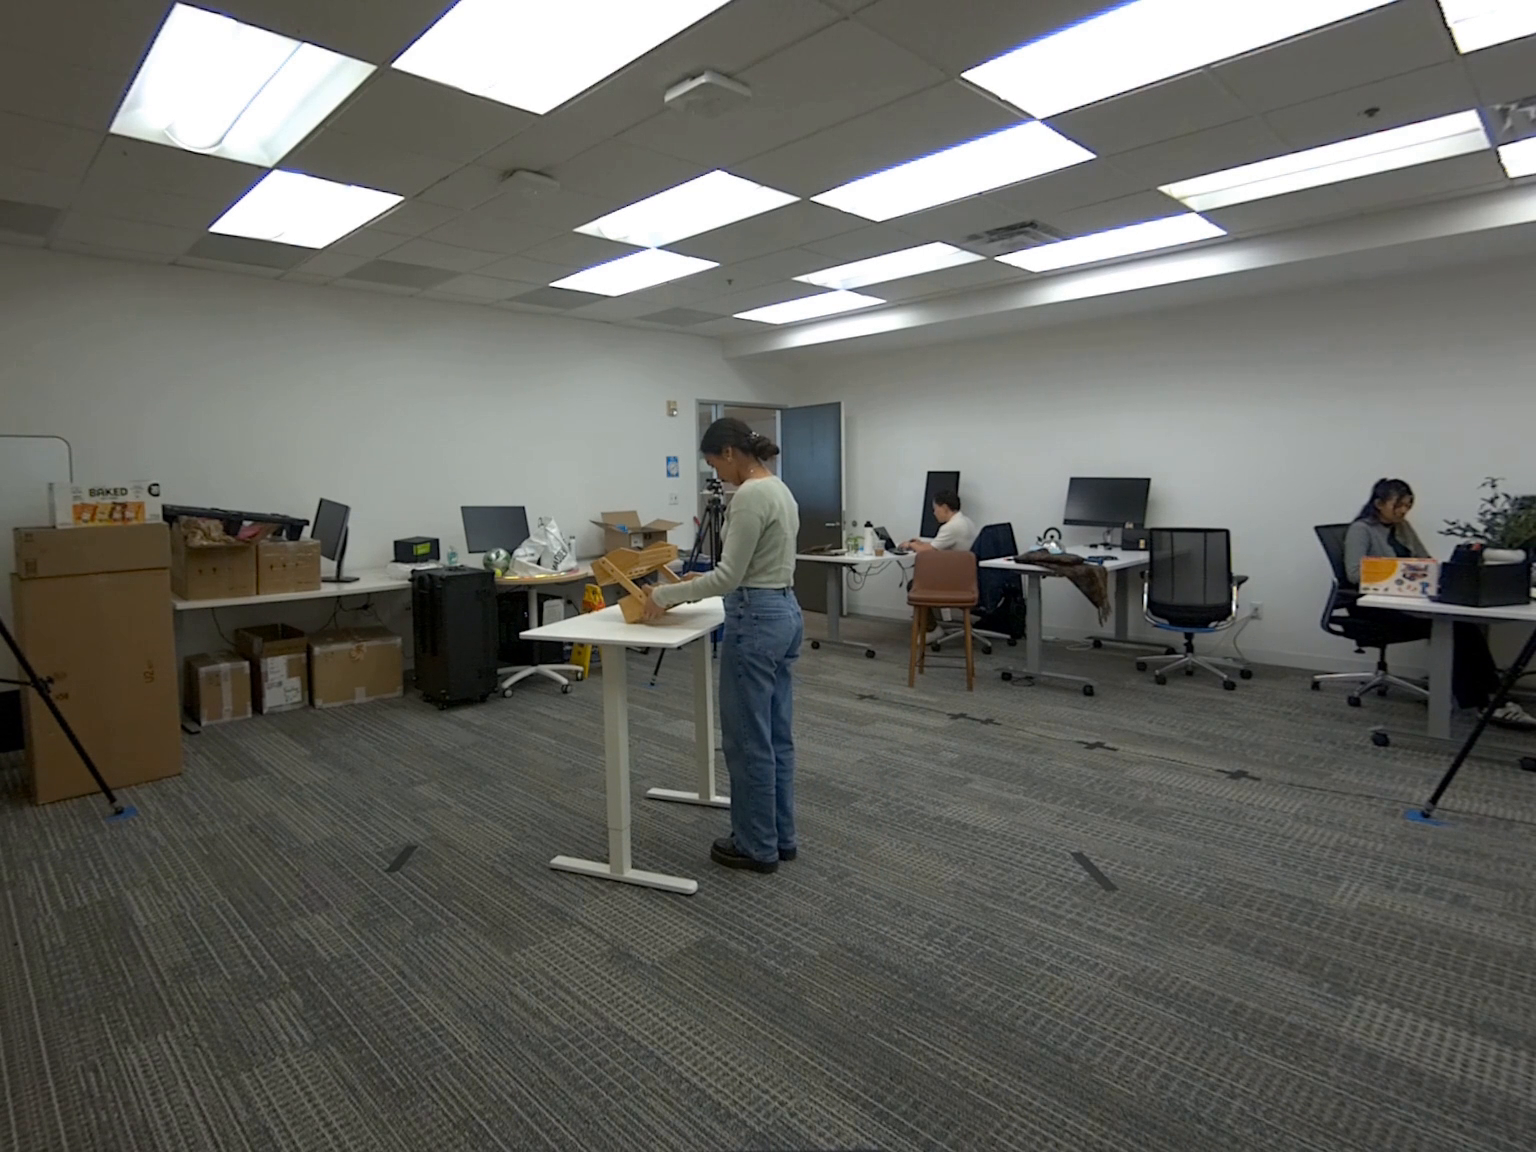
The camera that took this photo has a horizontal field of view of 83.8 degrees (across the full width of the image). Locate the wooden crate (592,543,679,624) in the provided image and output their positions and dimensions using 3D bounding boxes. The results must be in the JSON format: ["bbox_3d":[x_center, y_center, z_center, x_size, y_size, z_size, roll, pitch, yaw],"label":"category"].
[{"bbox_3d":[-0.424,-0.004,3.208,0.305,0.275,0.319,-24,-4,22],"label":"wooden crate"}]
